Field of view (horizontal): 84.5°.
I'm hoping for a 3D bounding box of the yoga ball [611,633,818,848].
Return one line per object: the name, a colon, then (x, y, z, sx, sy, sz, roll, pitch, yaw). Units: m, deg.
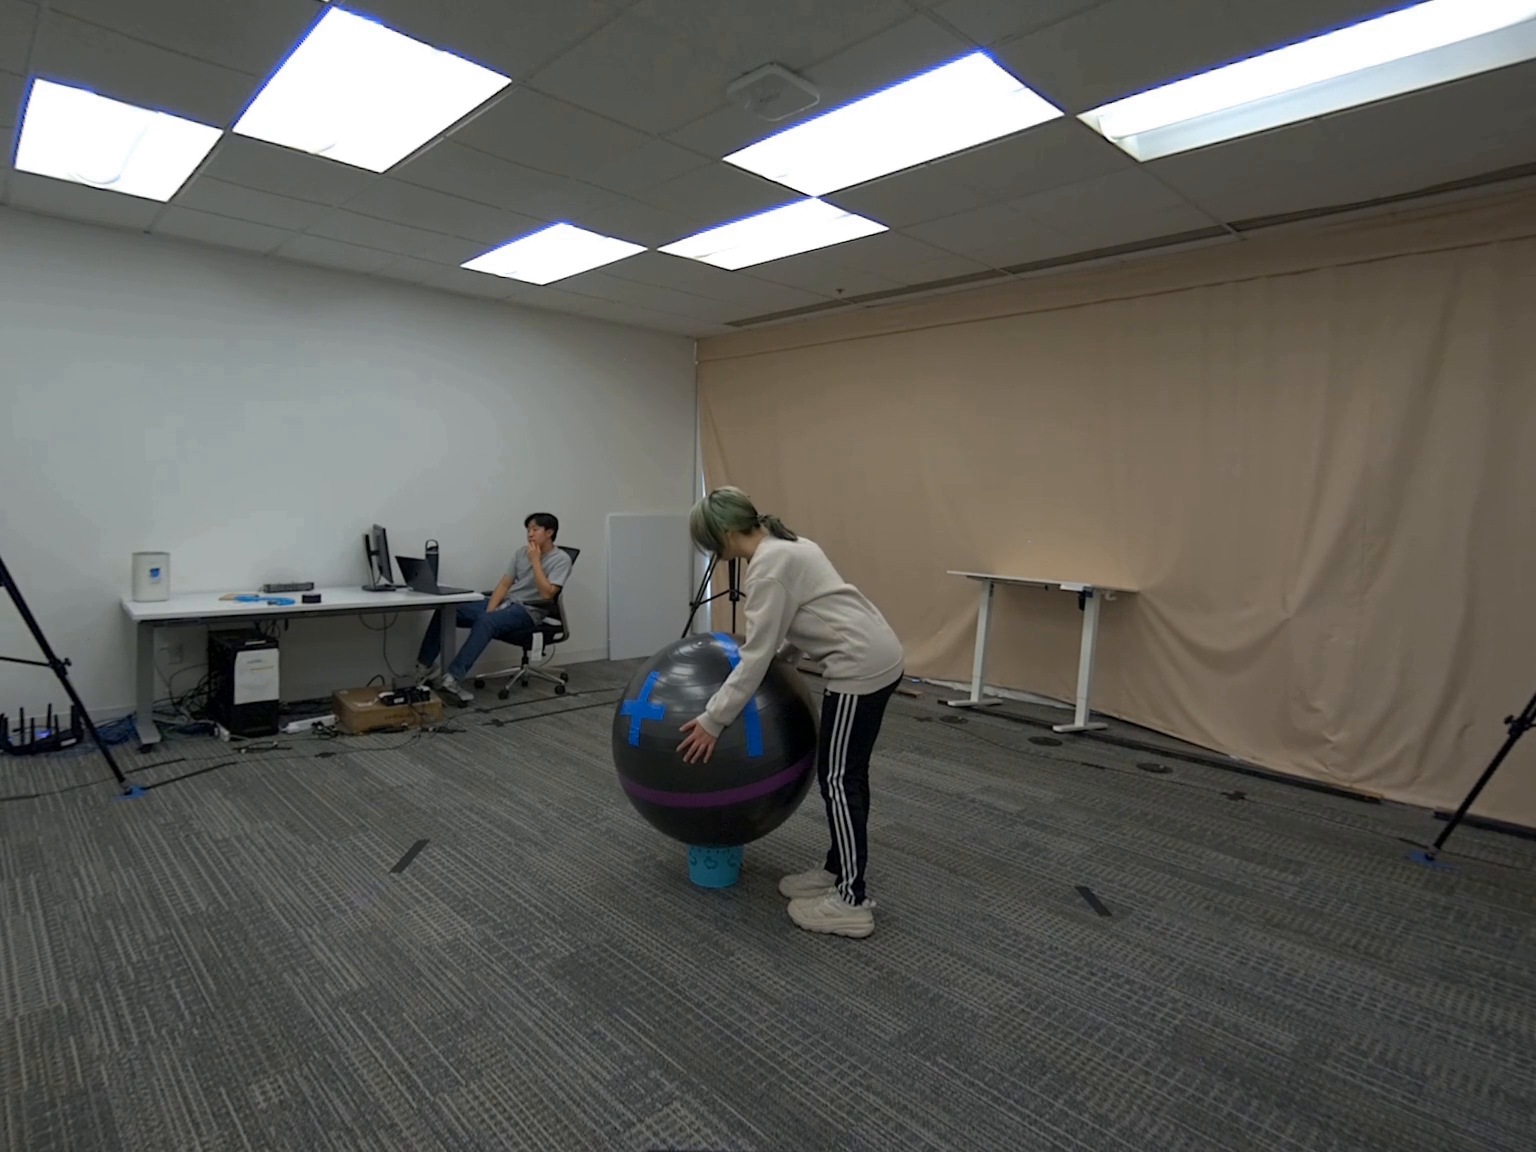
yoga ball: (-0.188, 0.585, 3.059, 0.757, 0.756, 0.761, 1, 4, -1)
